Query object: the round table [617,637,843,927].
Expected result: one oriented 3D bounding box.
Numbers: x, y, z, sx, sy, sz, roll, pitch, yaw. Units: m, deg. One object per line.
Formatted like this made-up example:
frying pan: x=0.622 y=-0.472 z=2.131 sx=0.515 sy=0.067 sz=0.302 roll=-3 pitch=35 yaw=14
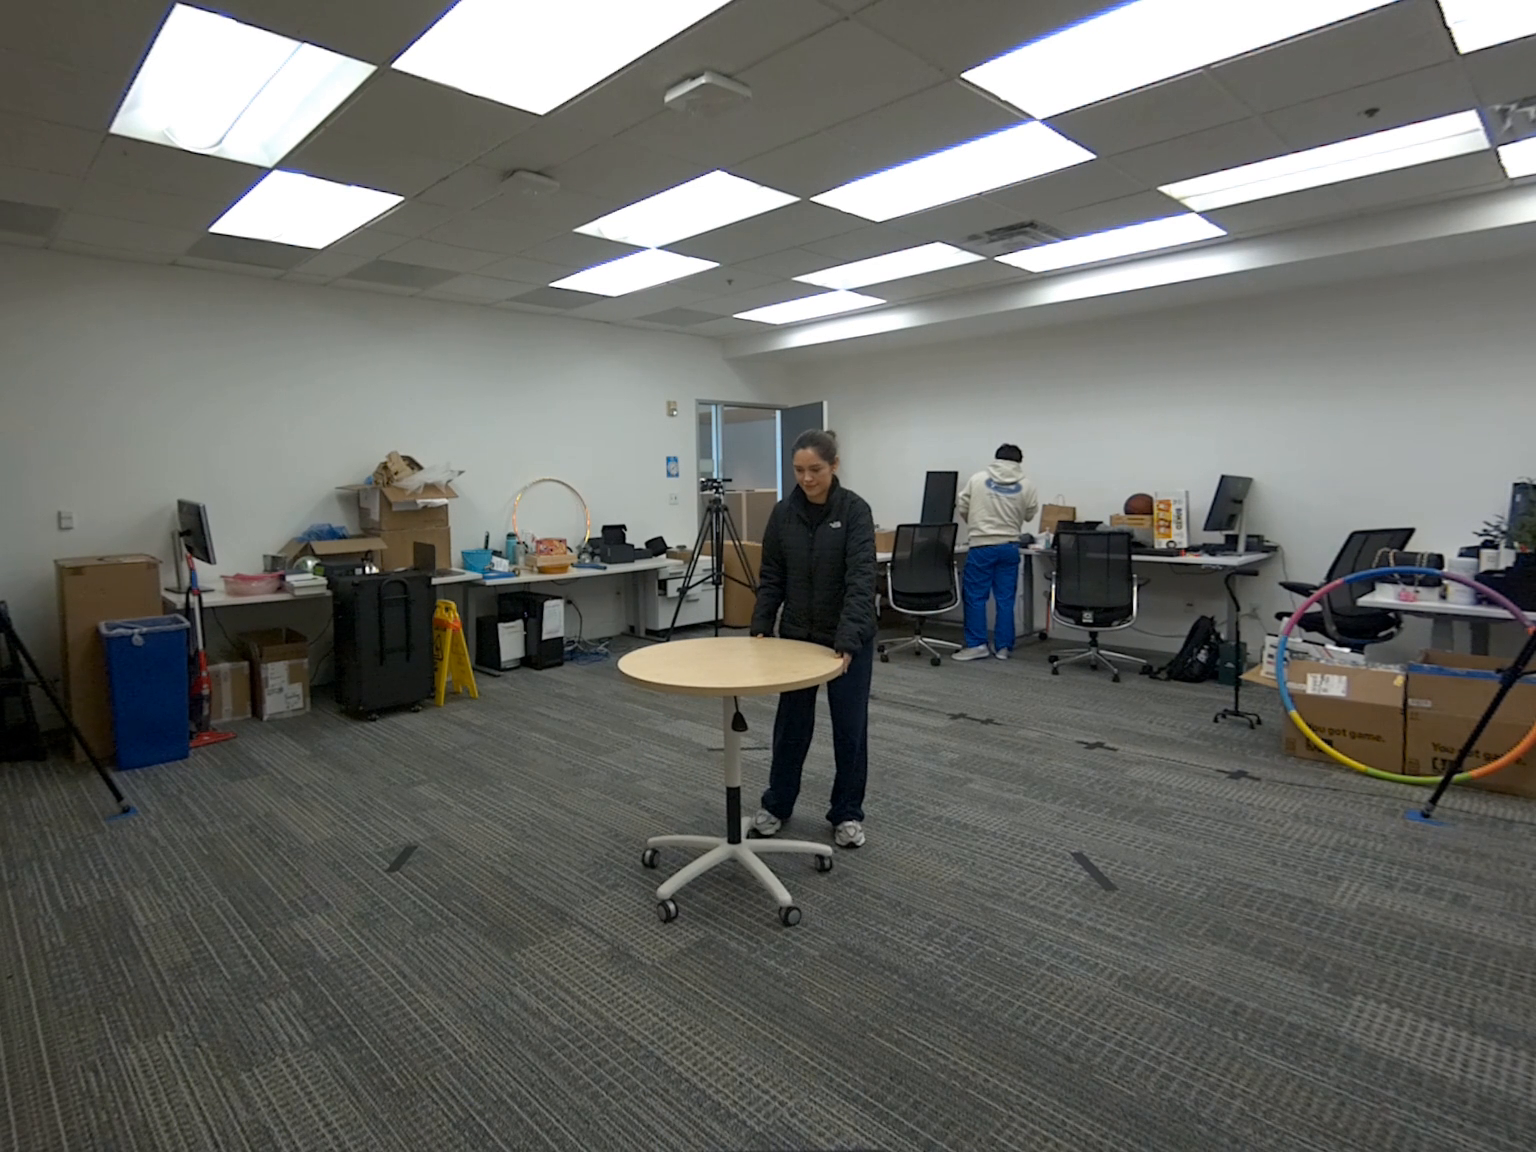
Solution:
round table: x=-0.135 y=0.668 z=2.947 sx=0.784 sy=0.783 sz=0.789 roll=-1 pitch=5 yaw=-2
